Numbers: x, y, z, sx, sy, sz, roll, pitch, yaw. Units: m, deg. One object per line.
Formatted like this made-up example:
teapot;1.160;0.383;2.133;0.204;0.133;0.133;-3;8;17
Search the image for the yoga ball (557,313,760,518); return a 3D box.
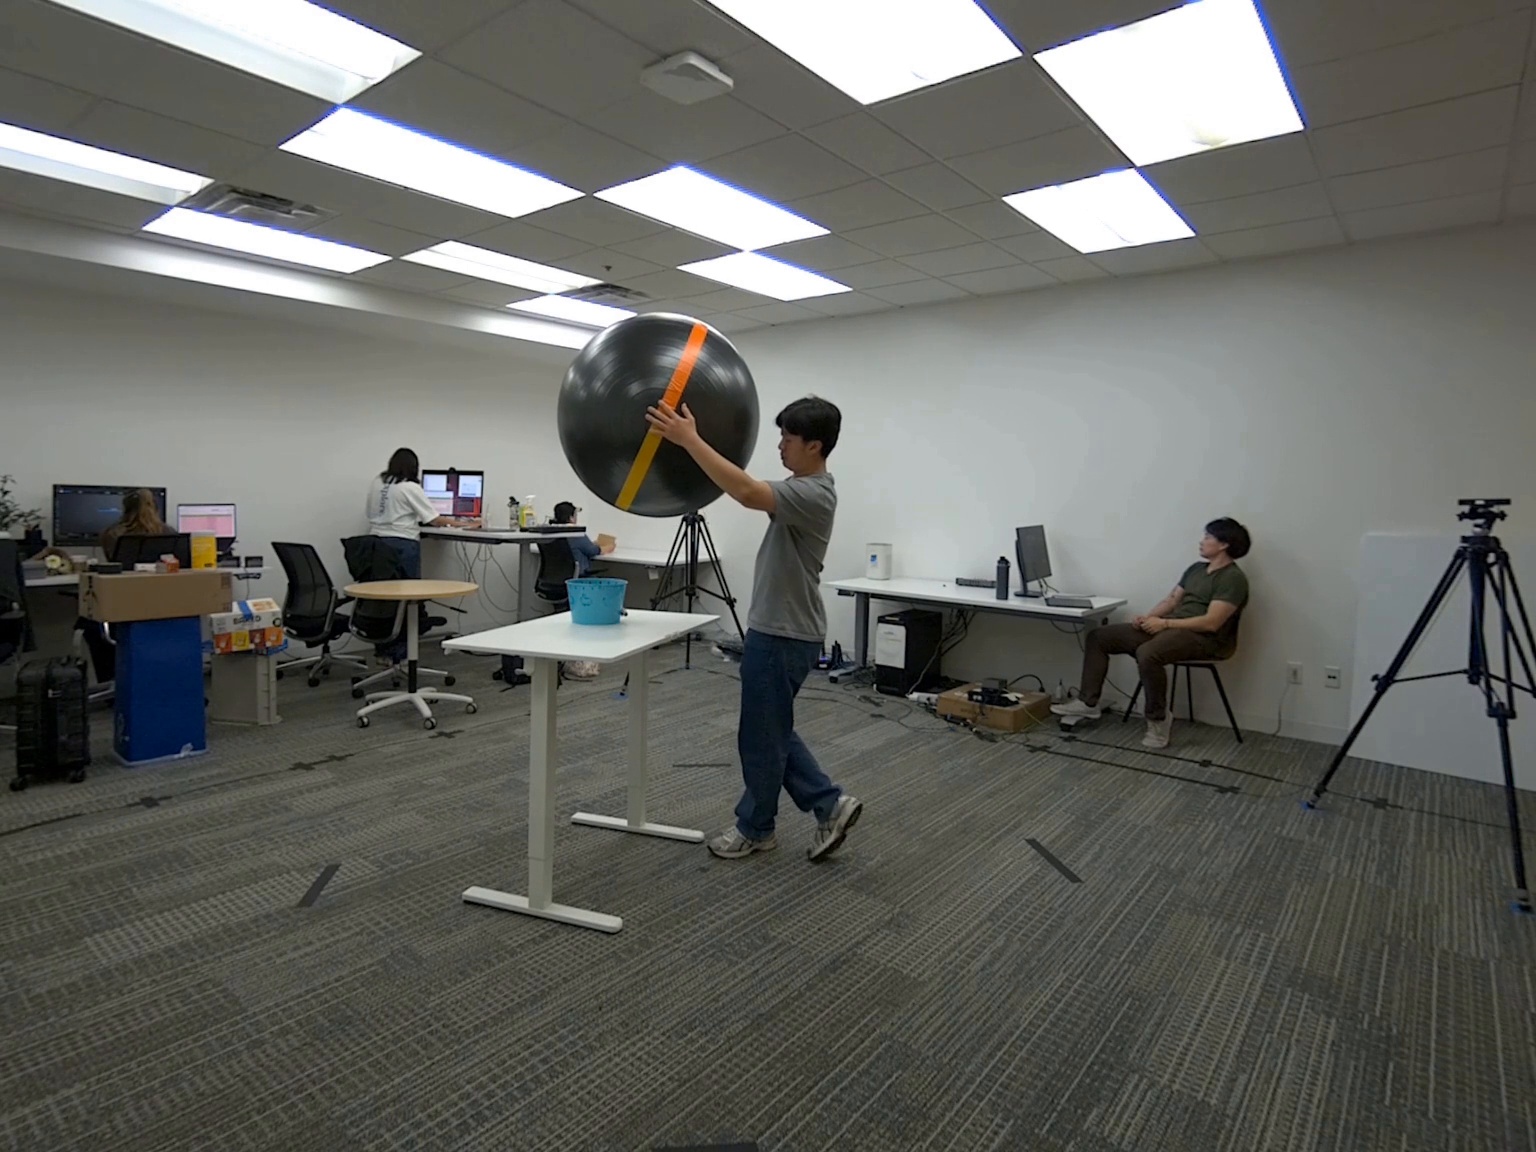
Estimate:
yoga ball;-0.422;-0.595;3.196;0.757;0.755;0.762;1;4;-2
